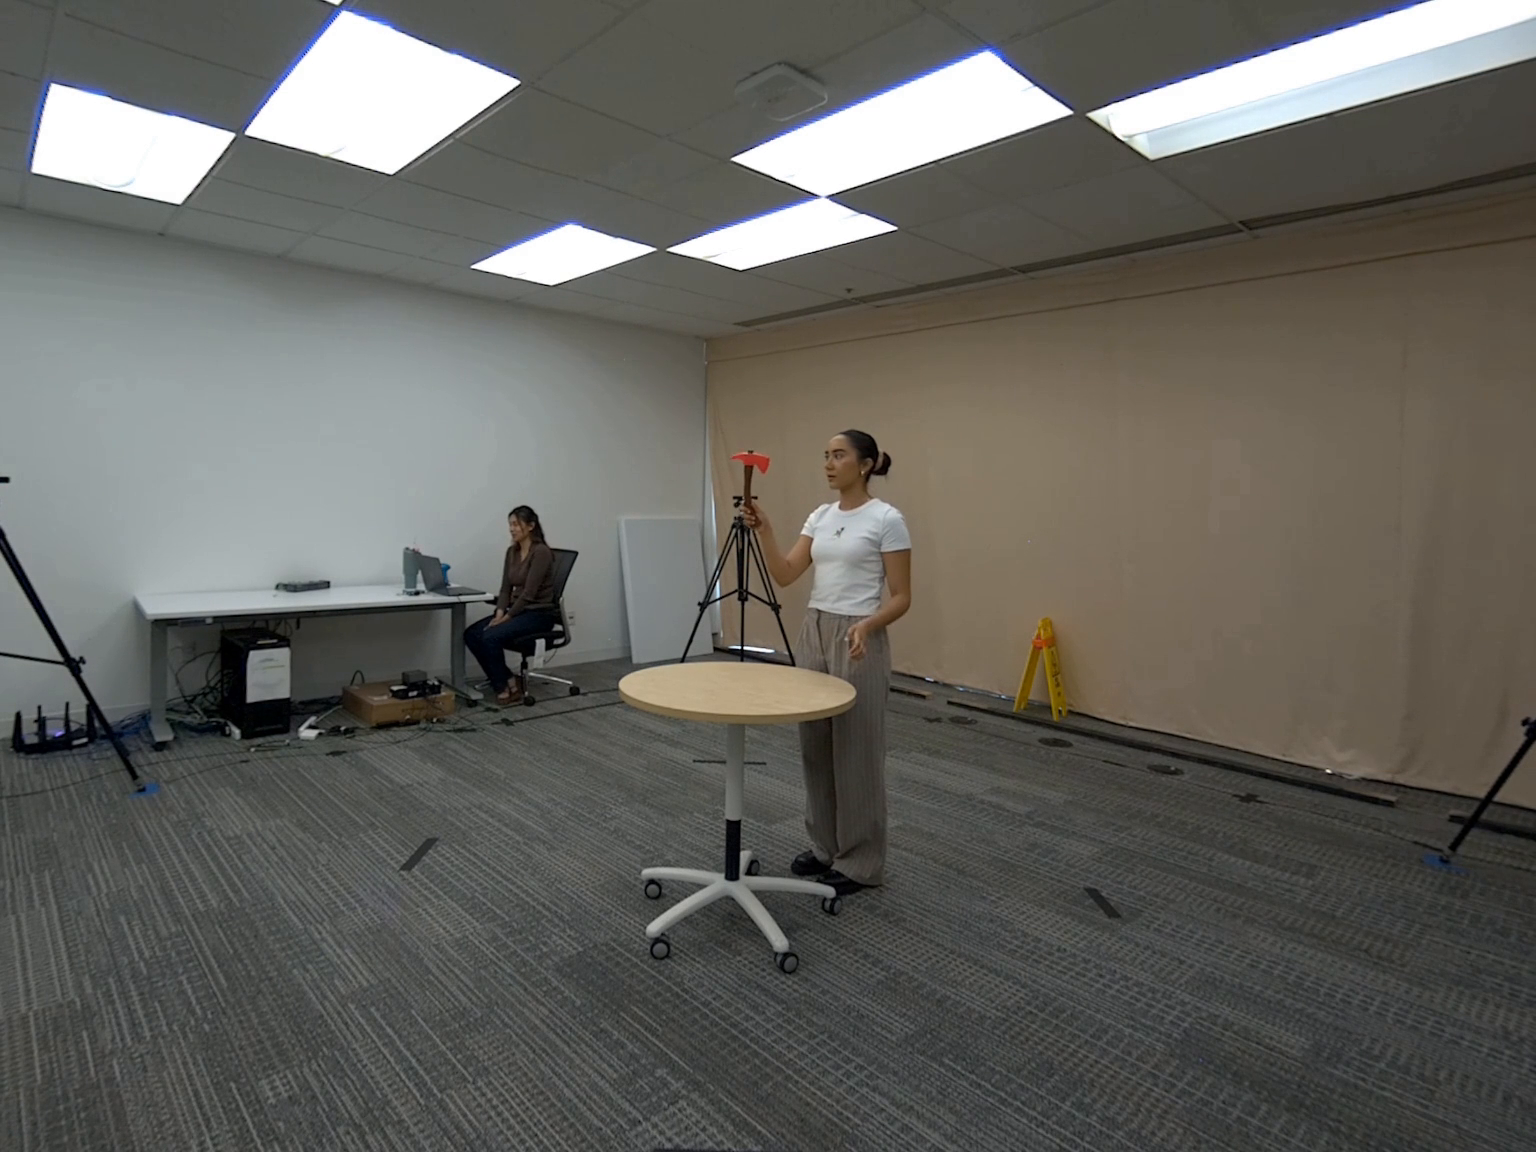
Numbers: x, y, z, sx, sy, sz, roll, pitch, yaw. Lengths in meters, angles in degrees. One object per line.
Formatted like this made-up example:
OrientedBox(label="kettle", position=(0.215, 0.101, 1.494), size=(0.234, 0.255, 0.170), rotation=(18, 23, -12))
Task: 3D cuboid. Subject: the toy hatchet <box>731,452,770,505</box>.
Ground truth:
OrientedBox(label="toy hatchet", position=(-0.040, -0.306, 2.895), size=(0.131, 0.267, 0.030), rotation=(-17, 13, -2))
